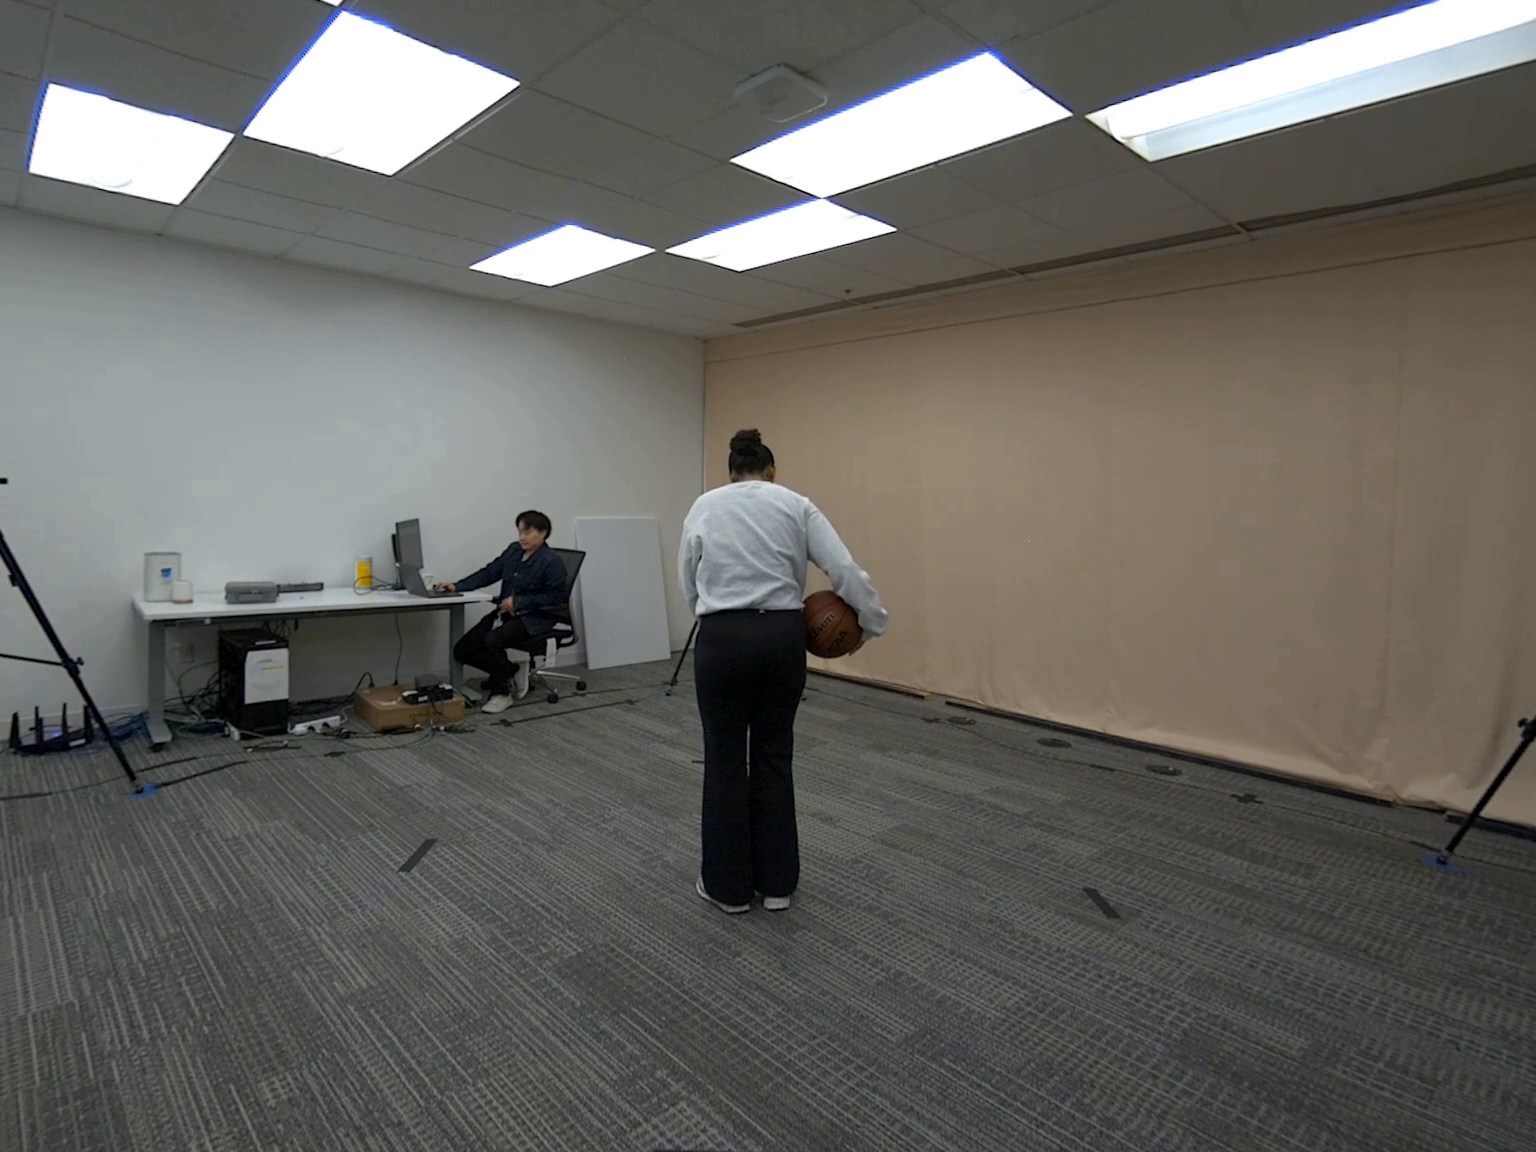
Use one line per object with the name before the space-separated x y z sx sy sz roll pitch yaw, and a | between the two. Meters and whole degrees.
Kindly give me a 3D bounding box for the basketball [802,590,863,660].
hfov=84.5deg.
basketball | 0.201 0.163 2.930 0.236 0.235 0.237 1 4 -1
